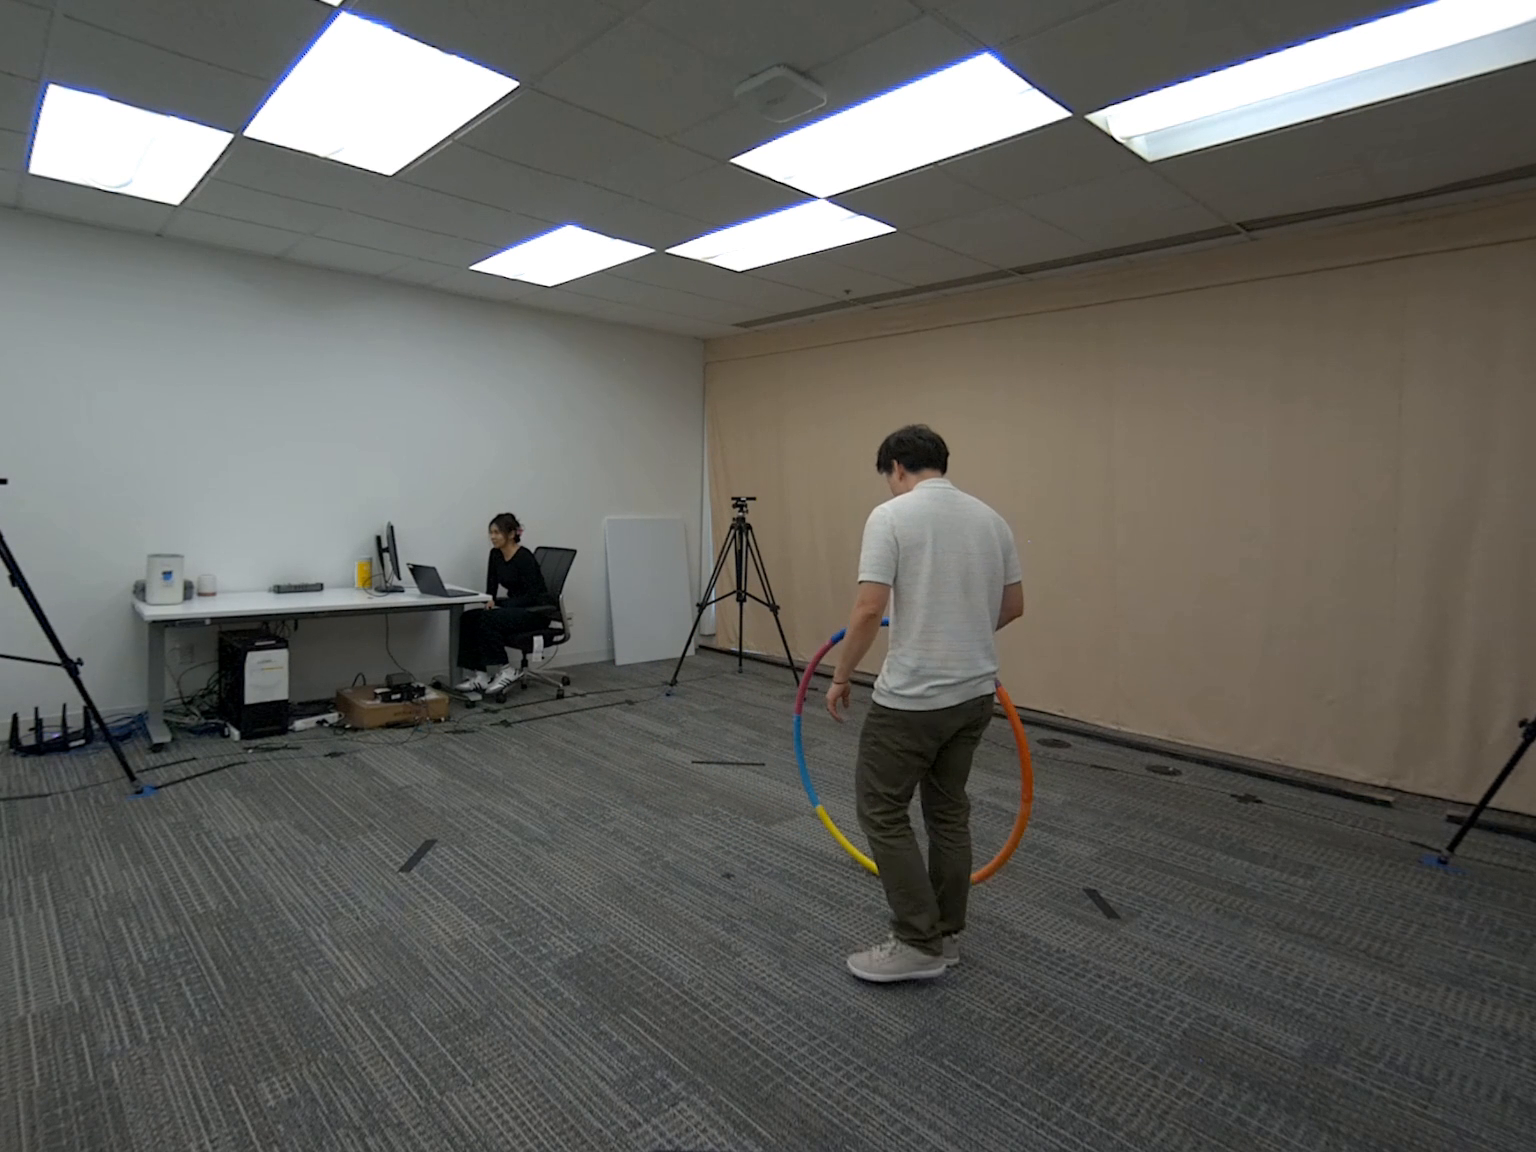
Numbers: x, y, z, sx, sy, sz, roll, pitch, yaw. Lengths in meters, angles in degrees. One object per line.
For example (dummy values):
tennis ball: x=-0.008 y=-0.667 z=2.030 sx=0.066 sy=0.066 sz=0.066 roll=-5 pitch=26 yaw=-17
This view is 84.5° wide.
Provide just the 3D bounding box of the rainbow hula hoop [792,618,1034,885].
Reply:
rainbow hula hoop: x=0.460 y=0.641 z=3.041 sx=1.004 sy=0.975 sz=0.035 roll=5 pitch=6 yaw=43
